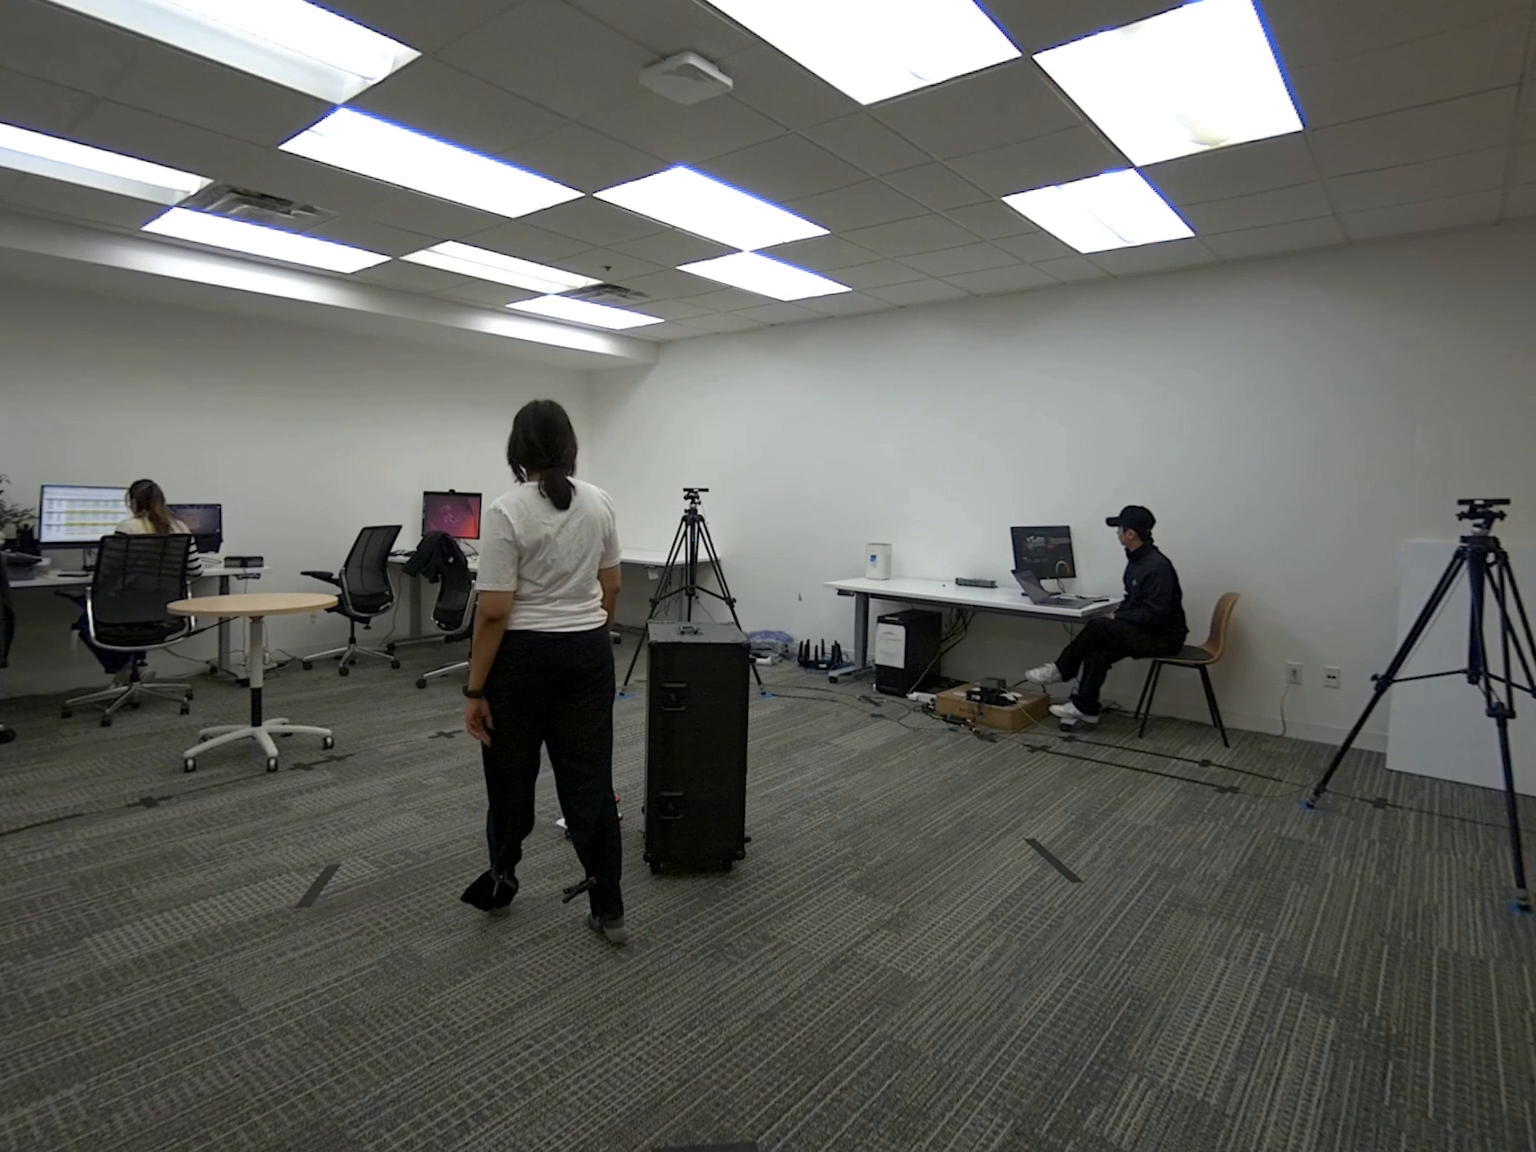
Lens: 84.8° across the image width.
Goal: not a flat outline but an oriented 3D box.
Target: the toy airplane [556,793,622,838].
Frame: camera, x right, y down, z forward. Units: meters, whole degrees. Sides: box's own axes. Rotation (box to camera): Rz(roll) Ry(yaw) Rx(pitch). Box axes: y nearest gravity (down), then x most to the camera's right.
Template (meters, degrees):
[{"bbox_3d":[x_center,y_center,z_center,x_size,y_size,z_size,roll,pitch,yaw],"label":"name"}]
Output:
[{"bbox_3d":[-0.713,0.952,3.432,0.253,0.156,0.257,0,3,7],"label":"toy airplane"}]
